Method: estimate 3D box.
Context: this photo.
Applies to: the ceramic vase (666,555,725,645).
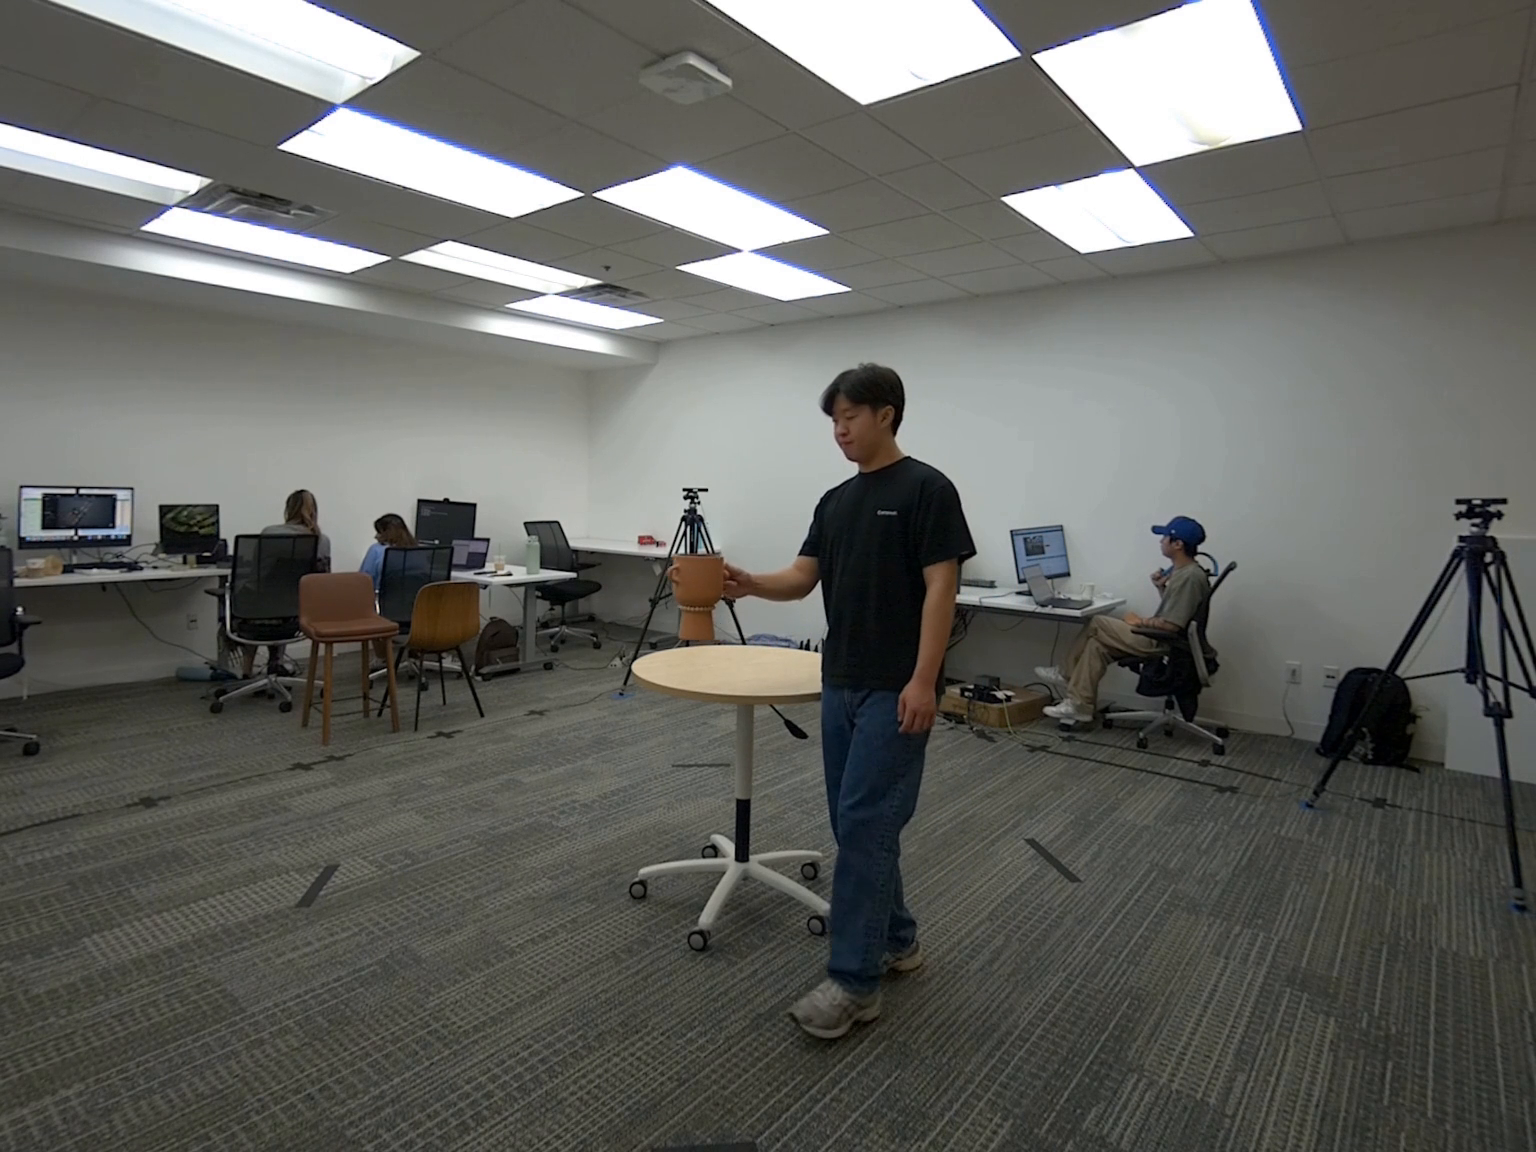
[{"bbox_3d":[-0.189,0.054,2.263,0.158,0.219,0.135,0,2,-3],"label":"ceramic vase"}]
